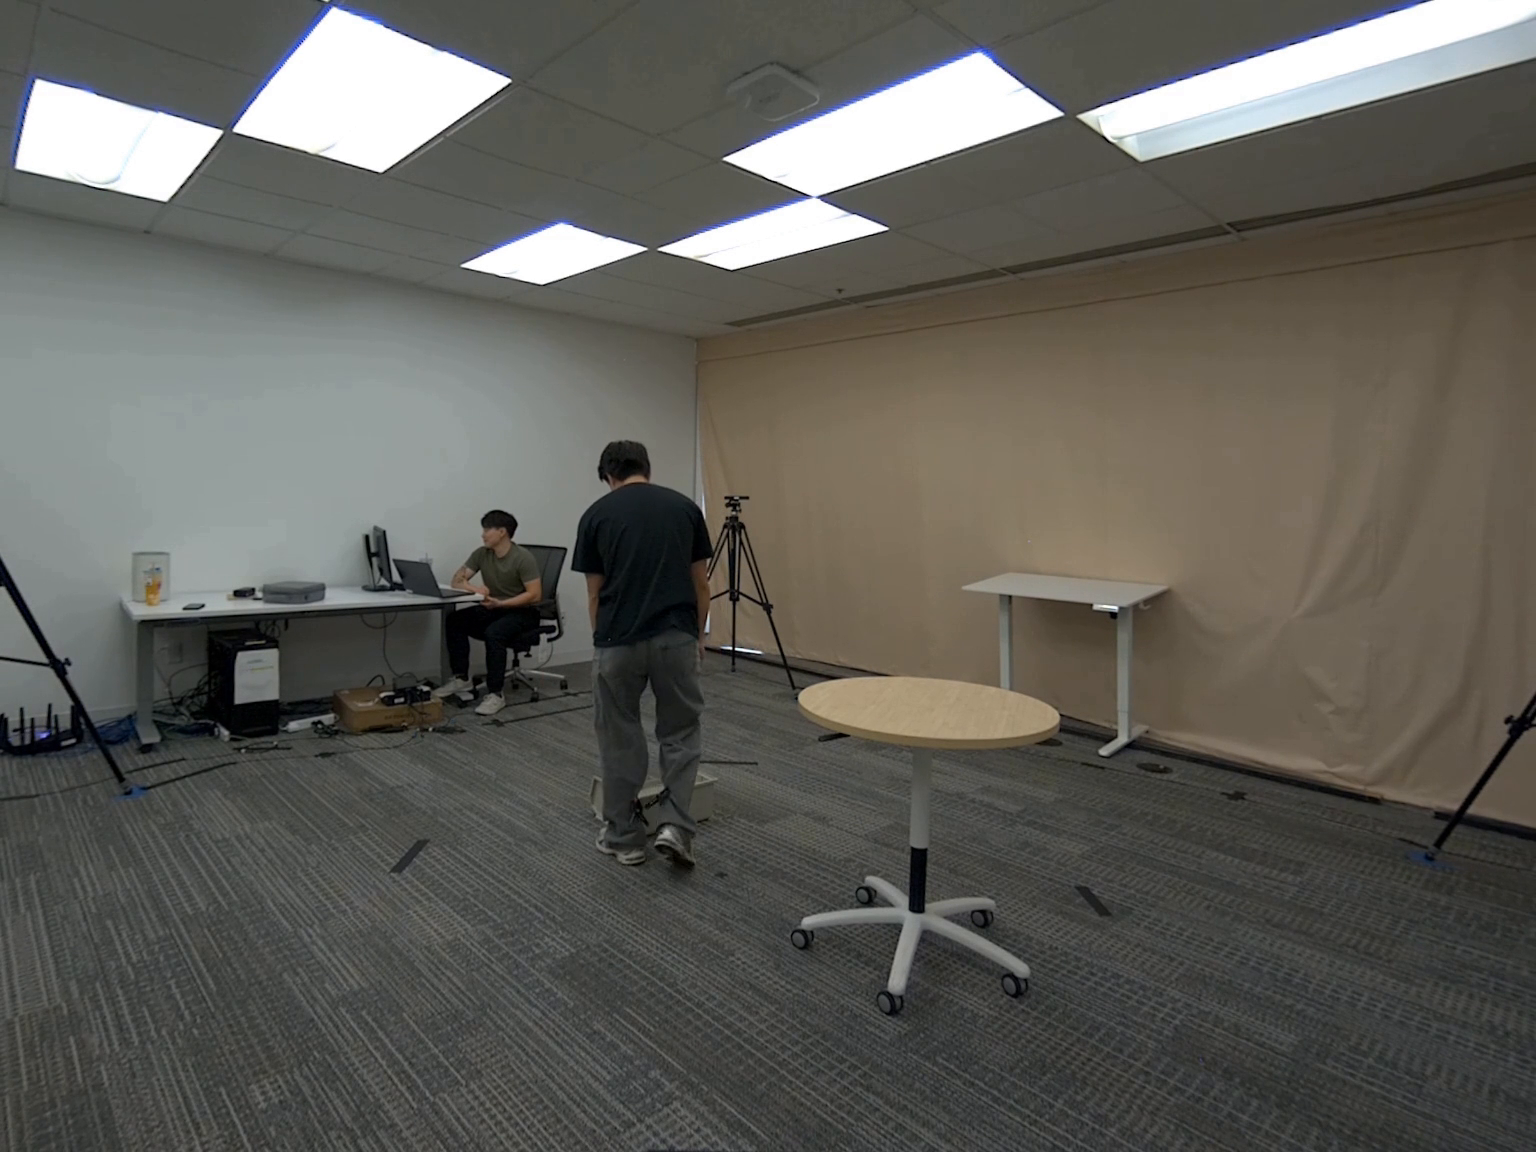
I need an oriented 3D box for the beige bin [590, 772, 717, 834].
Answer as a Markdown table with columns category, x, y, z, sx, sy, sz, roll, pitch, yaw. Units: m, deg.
| category | x | y | z | sx | sy | sz | roll | pitch | yaw |
| --- | --- | --- | --- | --- | --- | --- | --- | --- | --- |
| beige bin | -0.505 | 0.961 | 3.654 | 0.413 | 0.188 | 0.387 | -3 | 7 | -41 |
